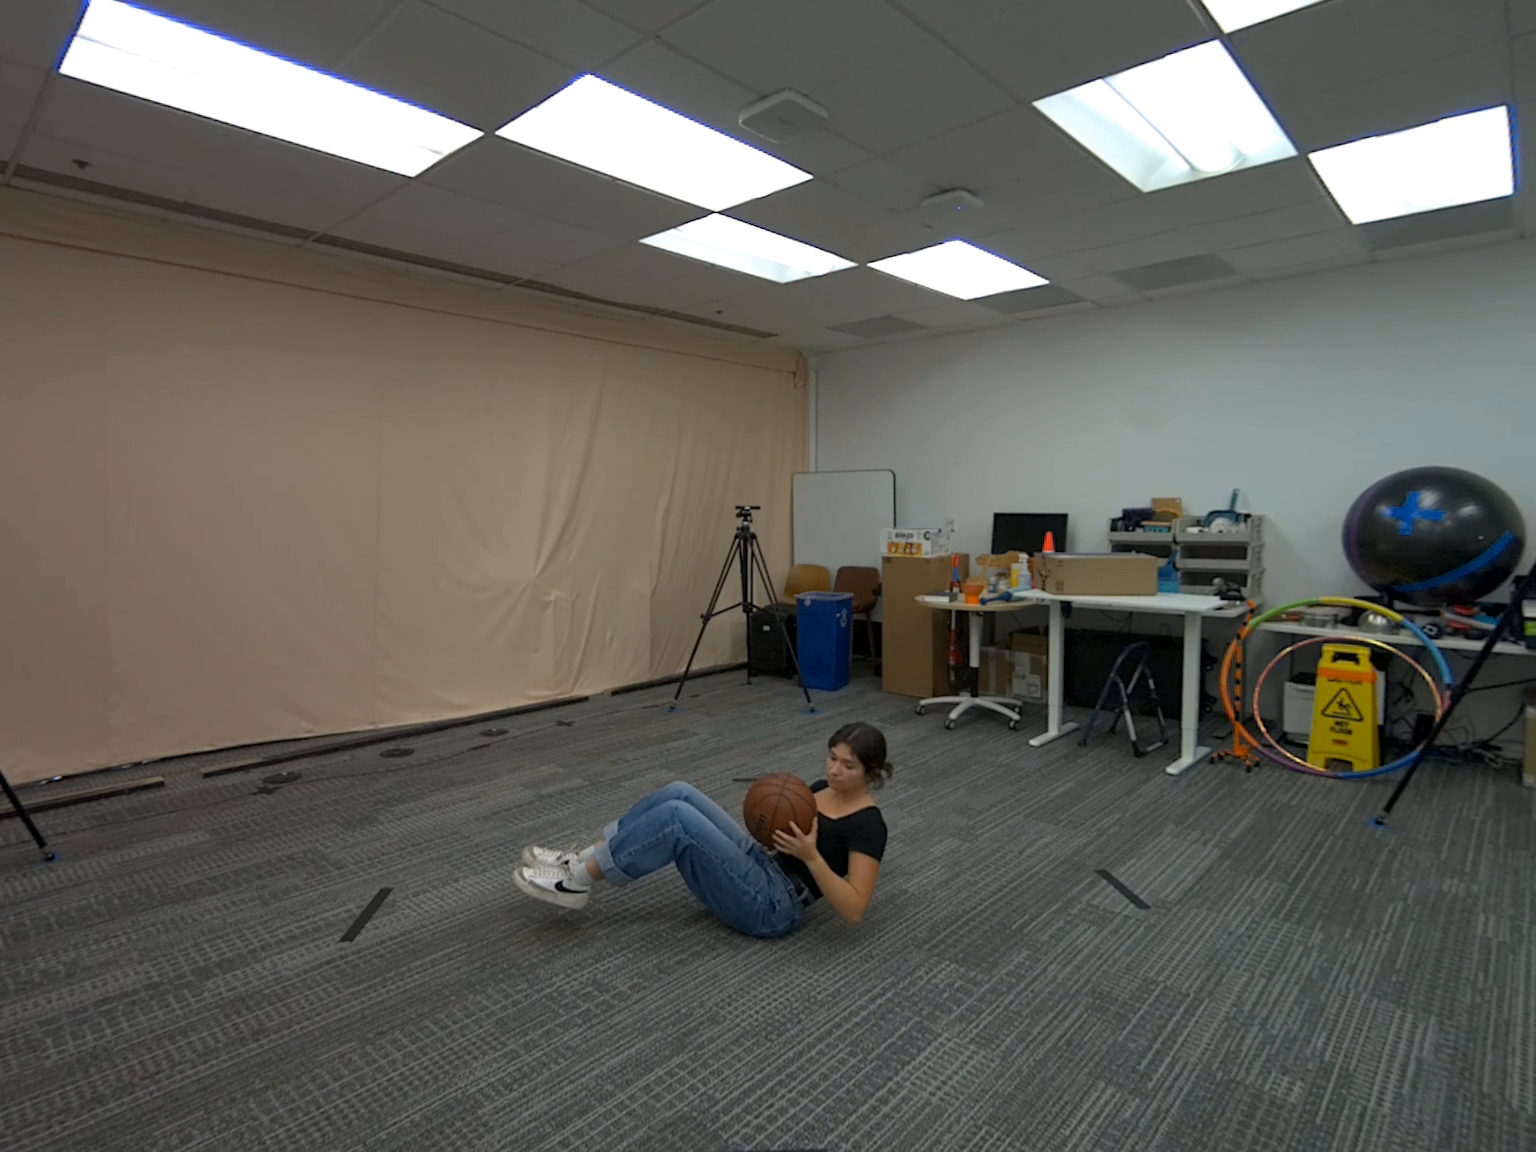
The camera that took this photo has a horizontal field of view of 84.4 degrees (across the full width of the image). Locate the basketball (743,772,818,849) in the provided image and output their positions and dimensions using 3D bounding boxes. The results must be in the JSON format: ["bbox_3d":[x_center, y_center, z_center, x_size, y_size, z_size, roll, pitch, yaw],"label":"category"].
[{"bbox_3d":[0.052,0.762,2.699,0.236,0.235,0.237,0,4,-2],"label":"basketball"}]
